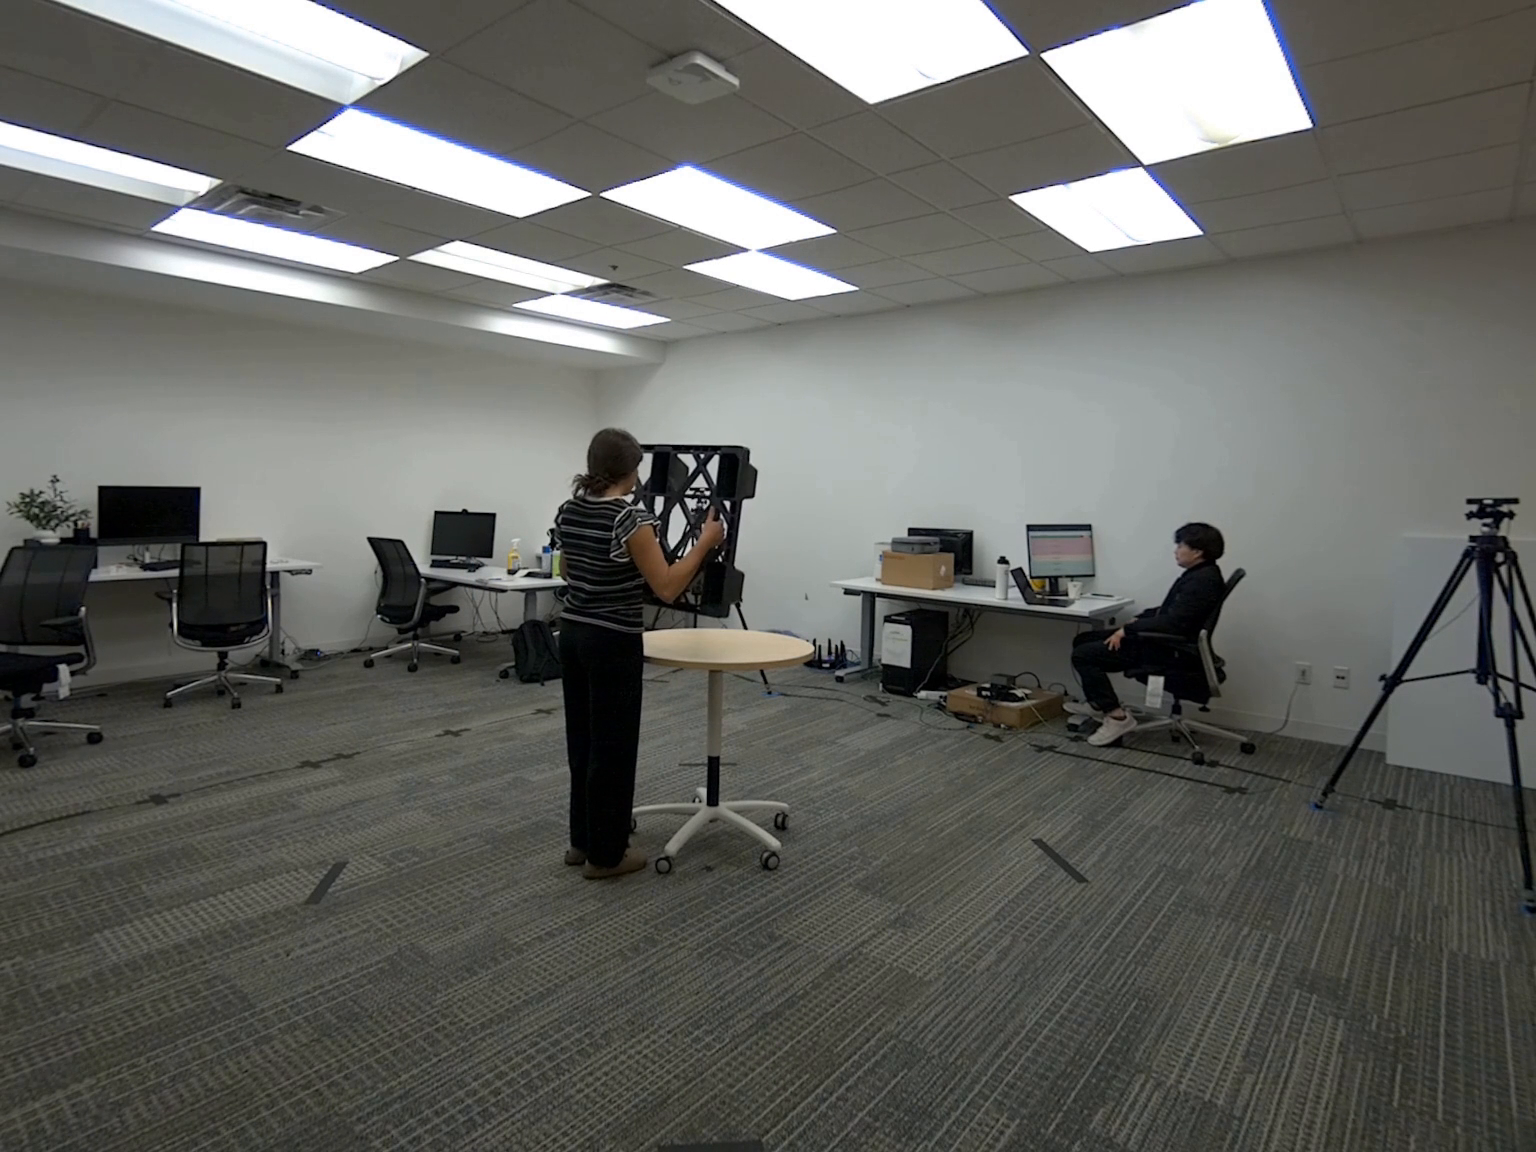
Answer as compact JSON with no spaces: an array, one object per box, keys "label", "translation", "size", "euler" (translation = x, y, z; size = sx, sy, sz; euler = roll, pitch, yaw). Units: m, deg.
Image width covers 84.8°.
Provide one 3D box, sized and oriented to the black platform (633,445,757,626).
[{"label":"black platform","translation":[-0.396,-0.191,3.217],"size":[0.834,0.606,0.138],"euler":[7,-3,40]}]
